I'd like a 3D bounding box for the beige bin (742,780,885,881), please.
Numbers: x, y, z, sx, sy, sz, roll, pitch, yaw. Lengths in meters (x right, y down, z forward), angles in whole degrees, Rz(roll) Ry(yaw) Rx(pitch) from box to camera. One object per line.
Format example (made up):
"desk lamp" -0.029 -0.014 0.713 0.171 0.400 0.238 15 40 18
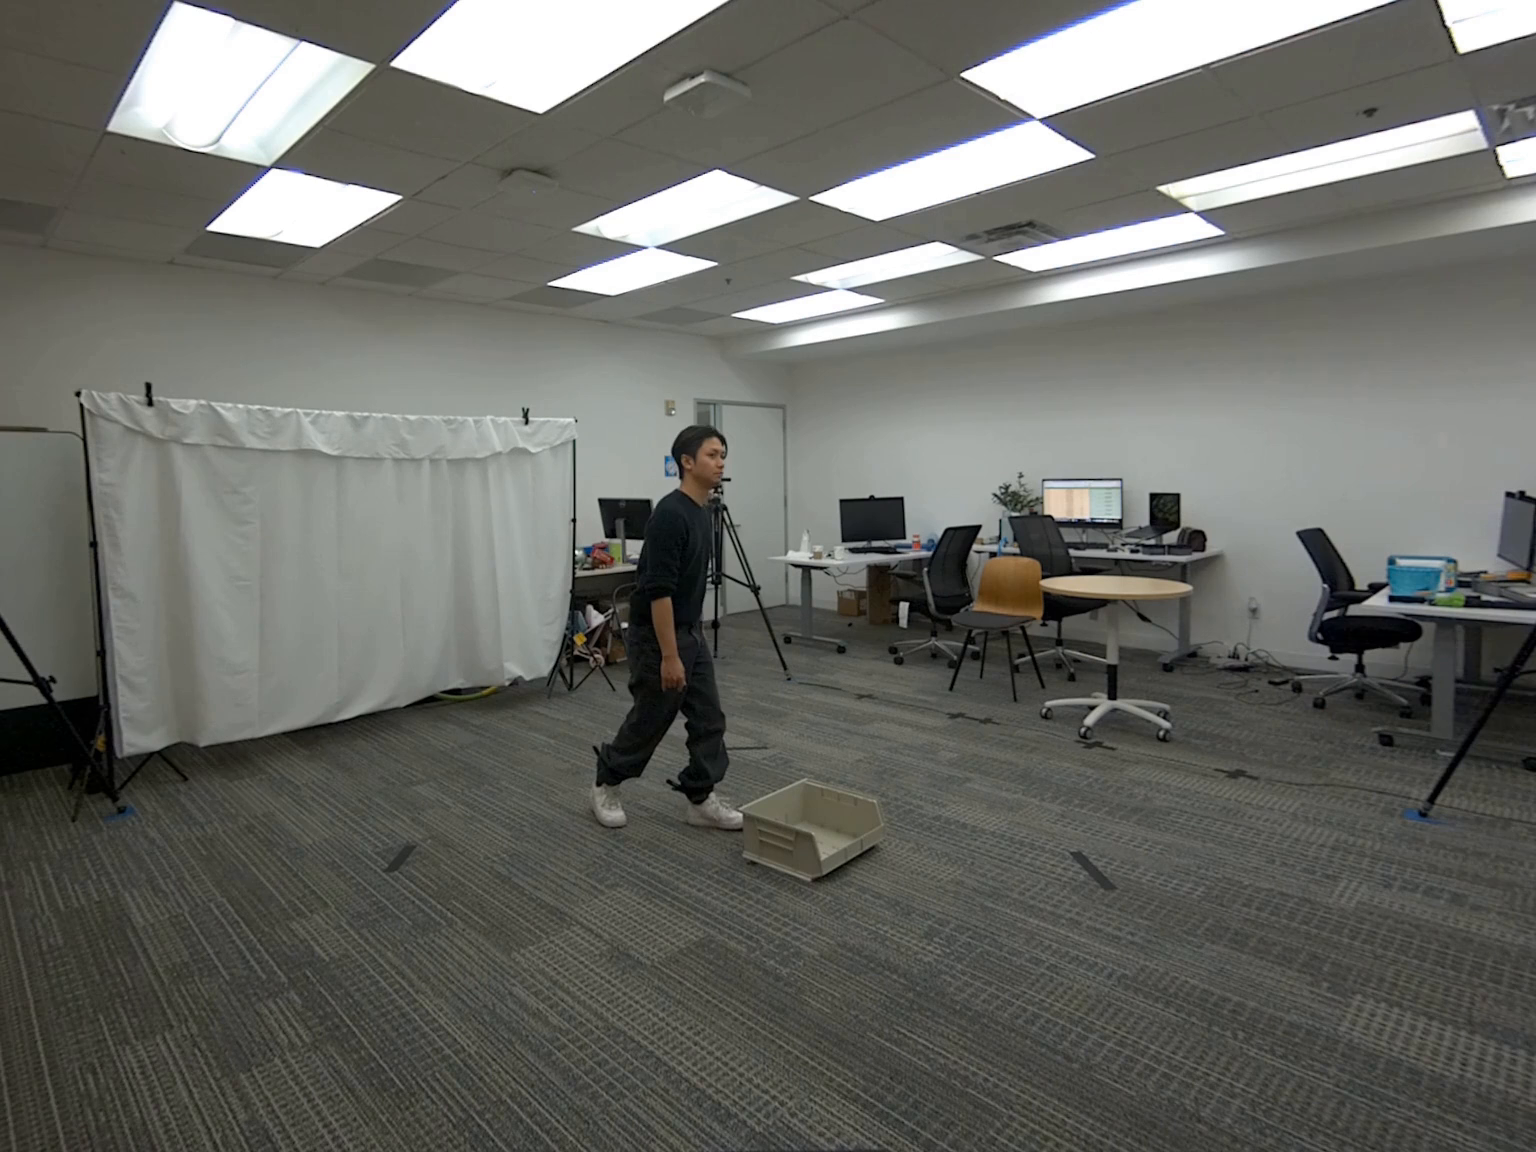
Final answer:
"beige bin" 0.169 0.941 3.184 0.389 0.188 0.412 3 8 41
